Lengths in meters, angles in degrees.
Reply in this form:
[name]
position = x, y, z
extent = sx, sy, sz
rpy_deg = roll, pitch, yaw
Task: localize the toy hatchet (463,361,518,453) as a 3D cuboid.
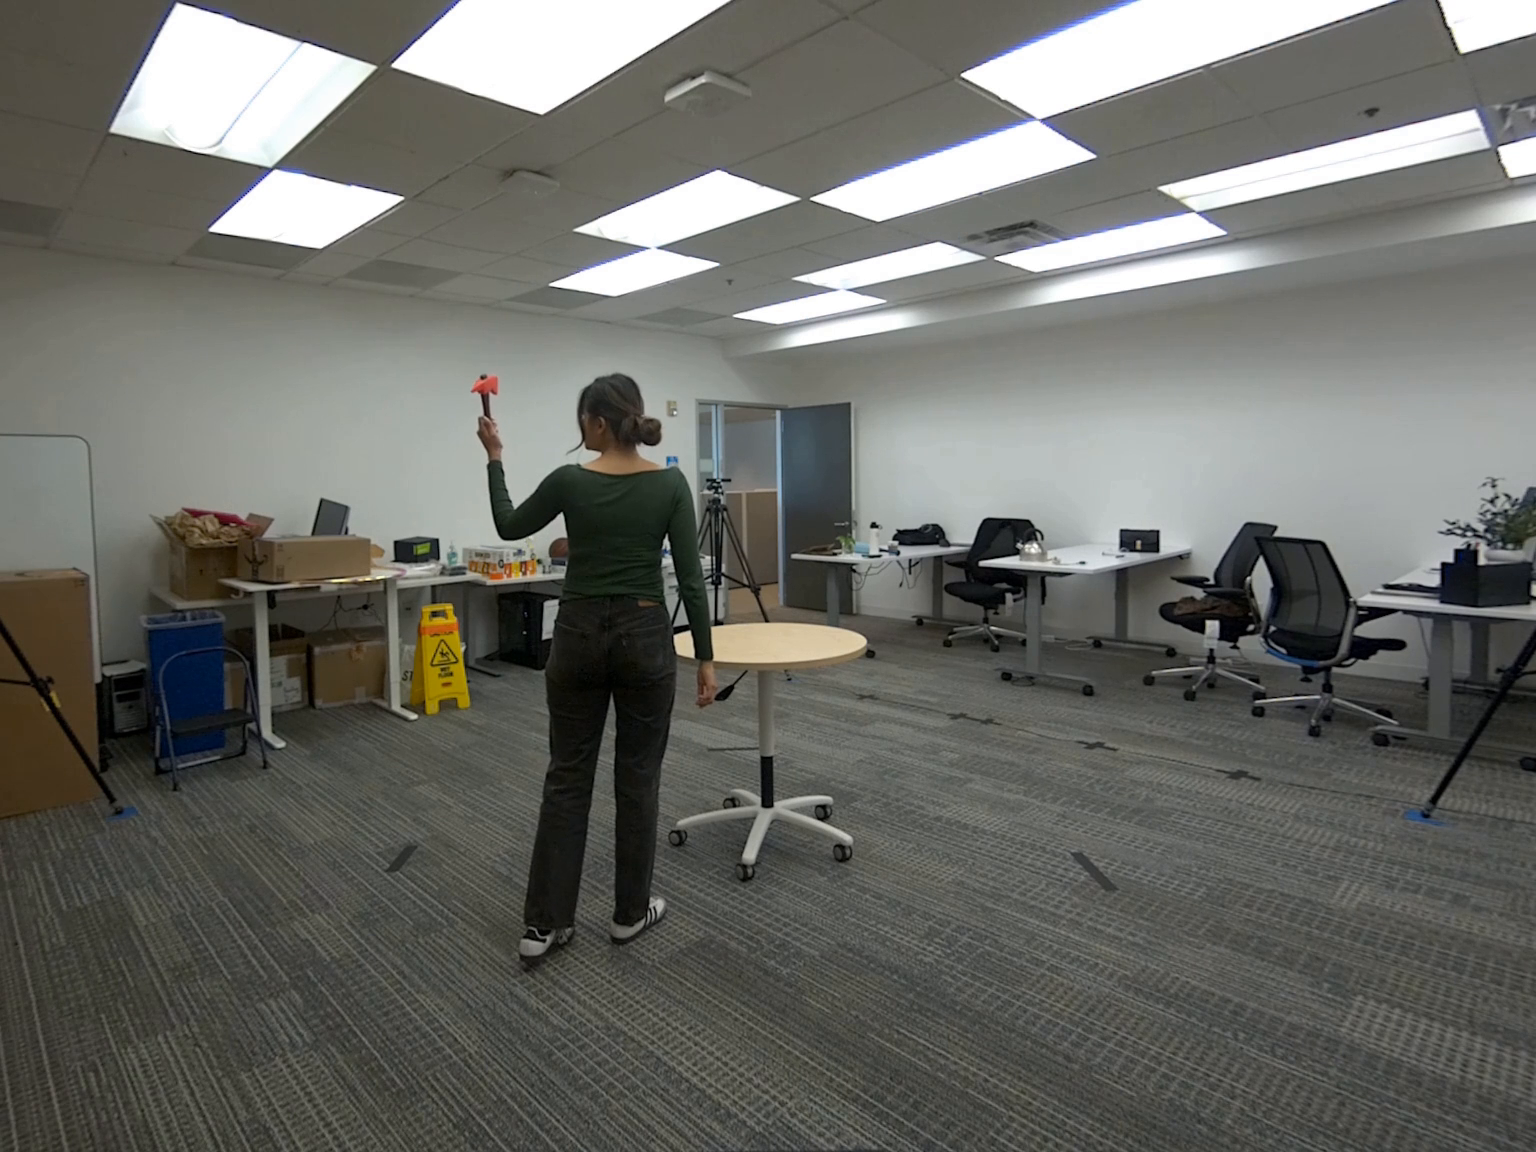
[toy hatchet]
position = -0.865, -0.523, 2.680
extent = 0.030, 0.133, 0.262
rpy_deg = 8, -39, 13
